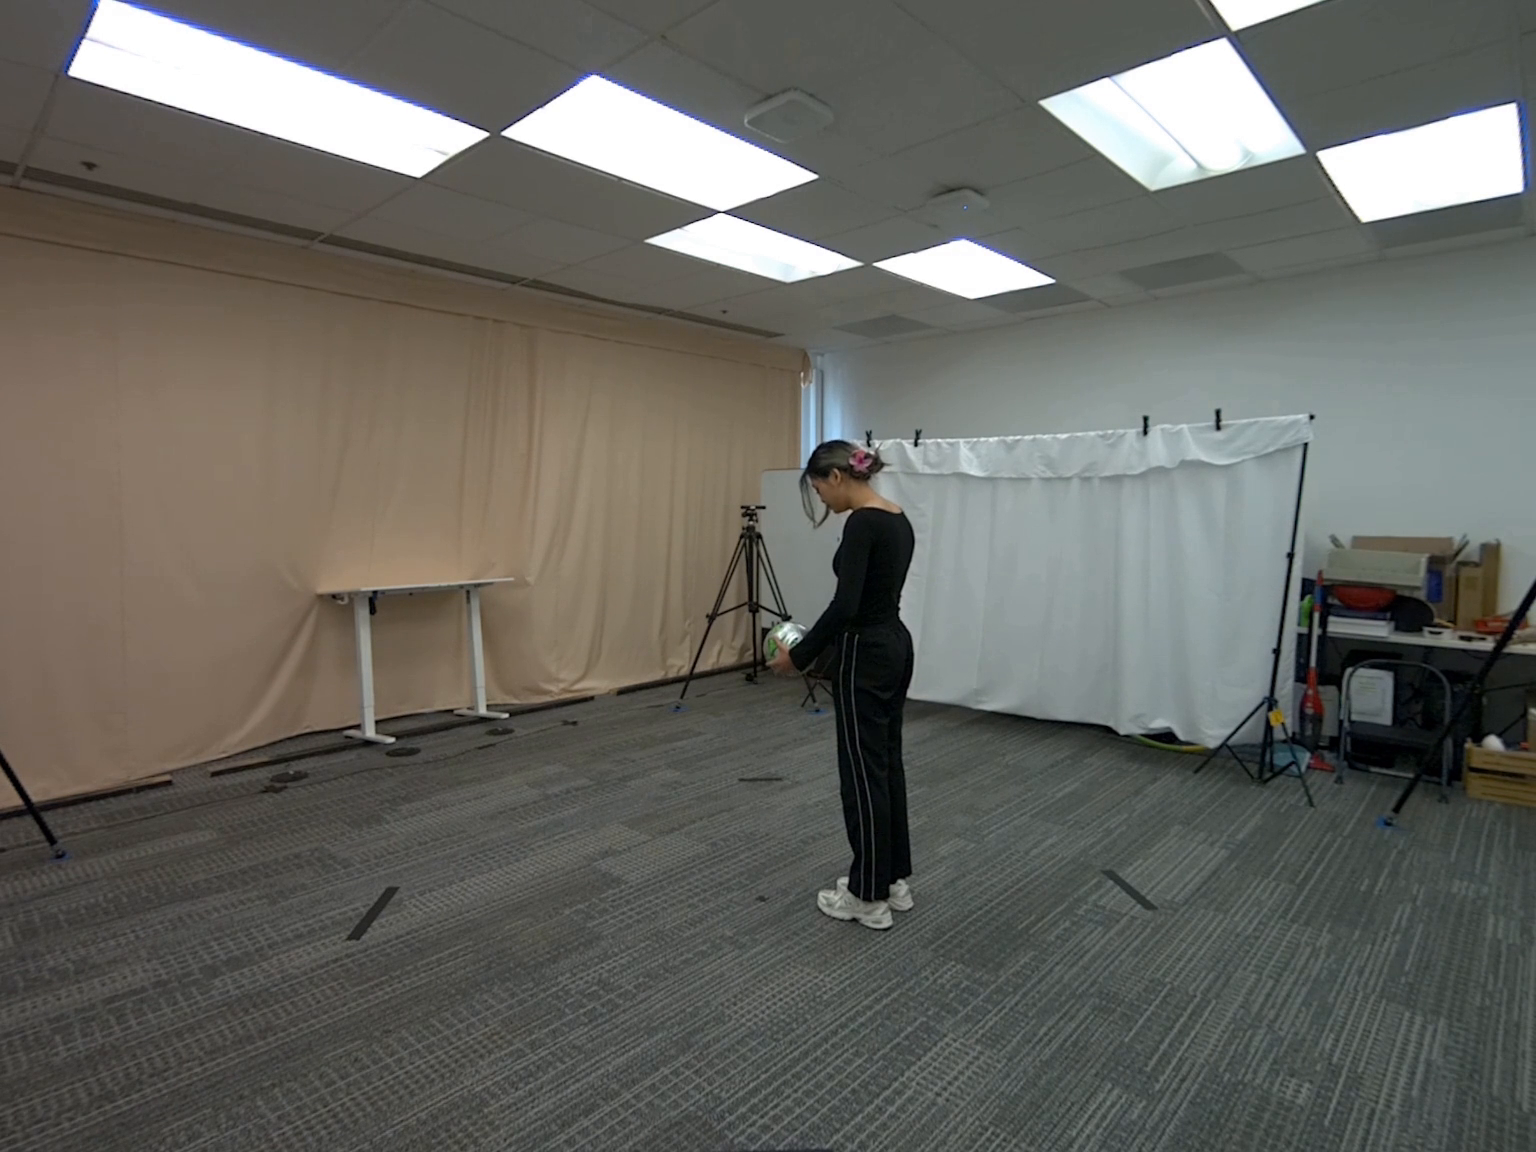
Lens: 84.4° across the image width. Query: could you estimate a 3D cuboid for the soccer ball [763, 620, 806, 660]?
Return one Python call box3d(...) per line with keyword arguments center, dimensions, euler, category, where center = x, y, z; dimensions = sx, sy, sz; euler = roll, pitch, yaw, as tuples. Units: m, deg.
box3d(center=(0.088, 0.253, 2.901), dimensions=(0.187, 0.187, 0.188), euler=(0, 4, -2), category="soccer ball")
